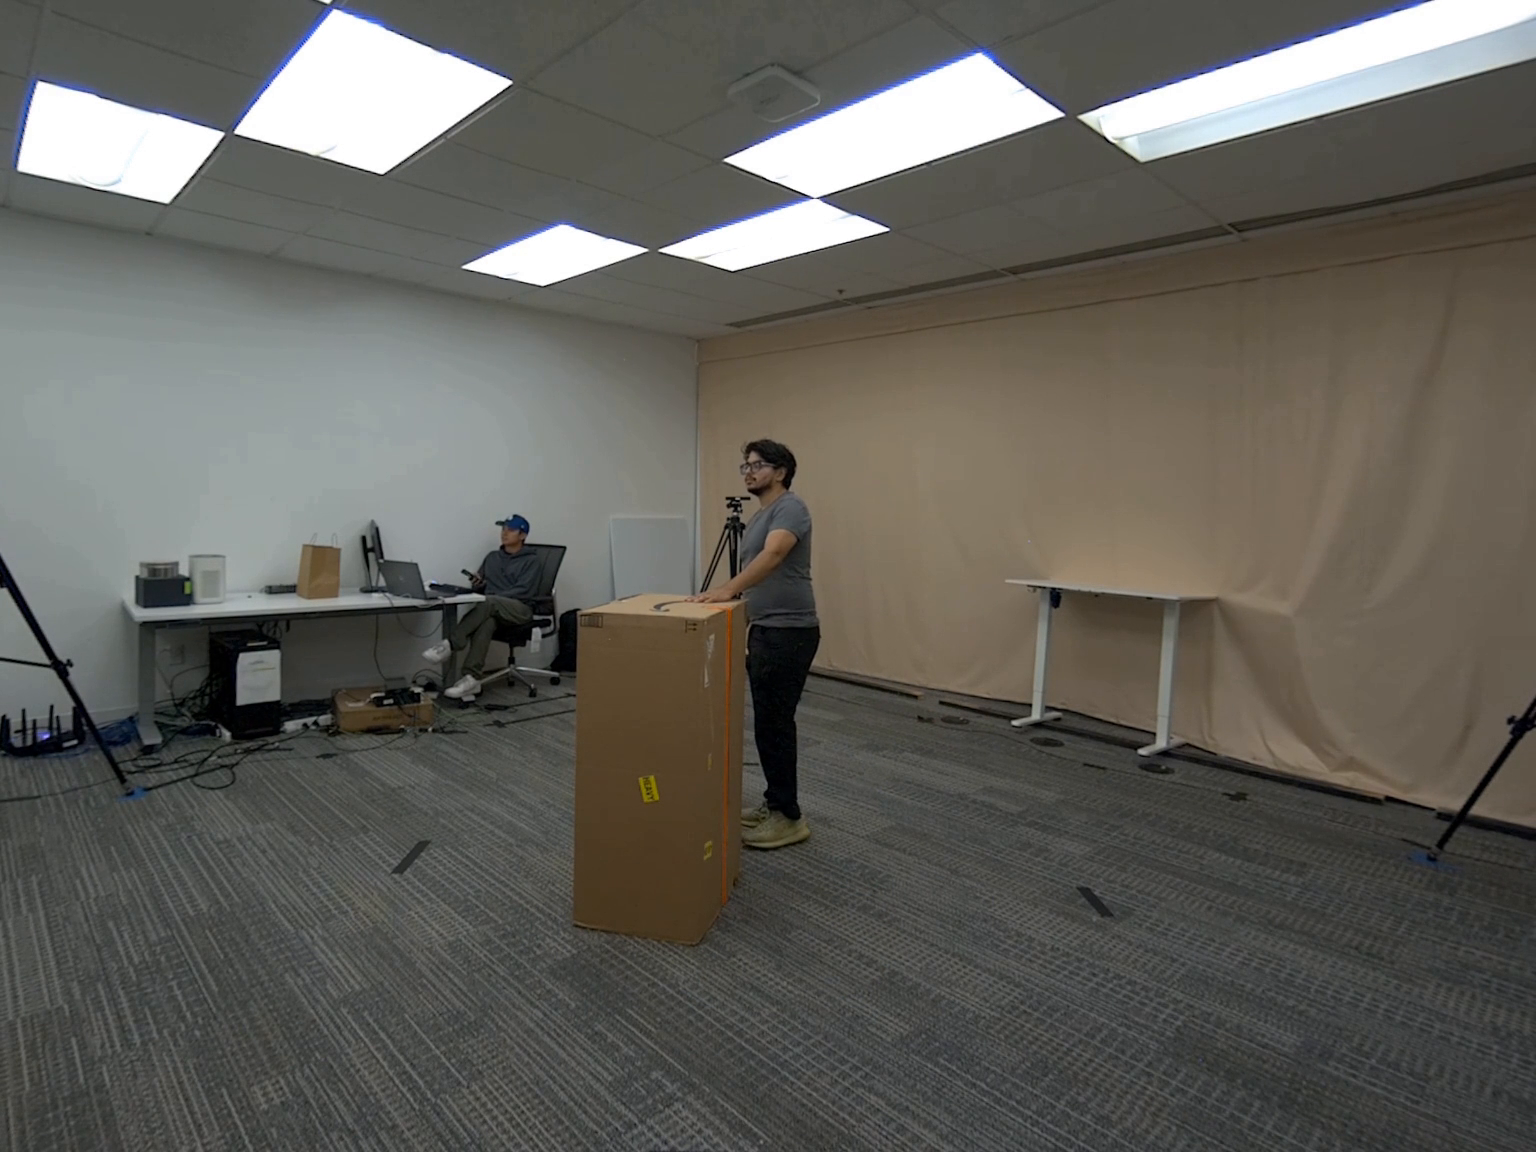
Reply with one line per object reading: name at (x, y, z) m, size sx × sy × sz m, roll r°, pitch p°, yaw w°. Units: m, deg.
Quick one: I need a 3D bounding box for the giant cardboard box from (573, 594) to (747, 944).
giant cardboard box at (-0.357, 0.609, 2.910) m, size 0.431 × 1.024 × 0.572 m, roll 2°, pitch 3°, yaw 13°
